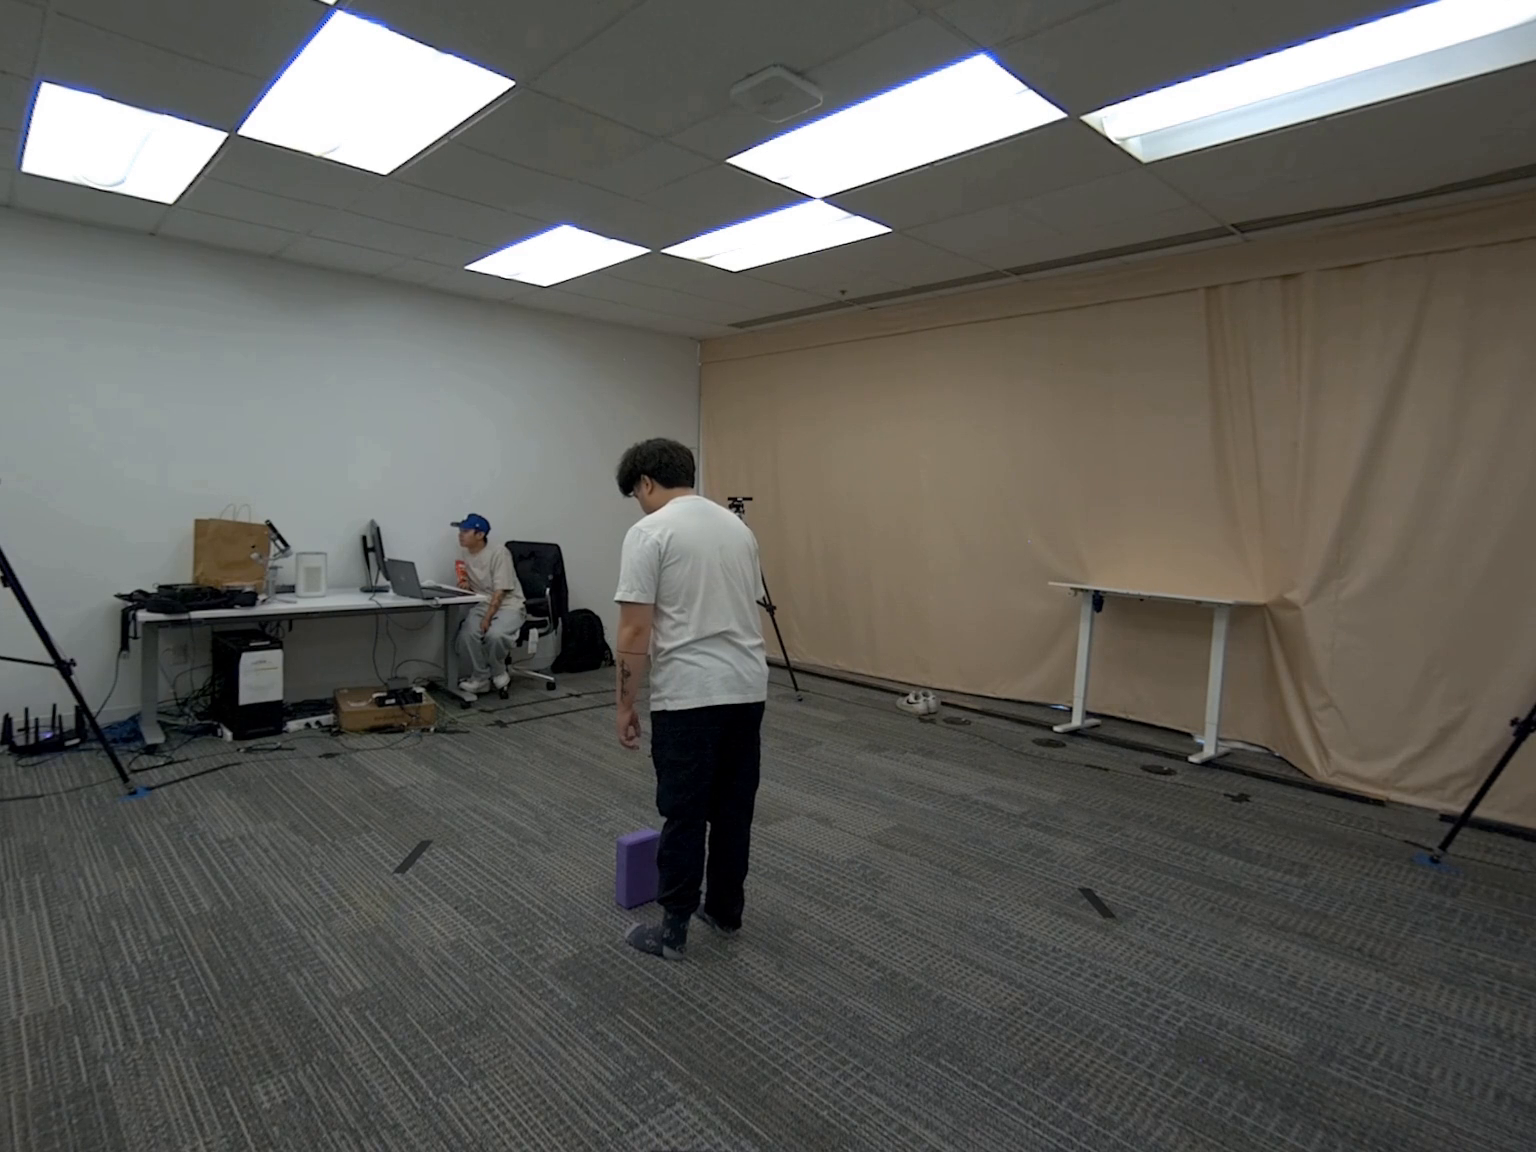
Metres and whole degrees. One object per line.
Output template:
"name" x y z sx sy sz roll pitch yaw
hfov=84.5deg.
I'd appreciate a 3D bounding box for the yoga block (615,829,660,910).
"yoga block" -0.453 1.006 2.892 0.145 0.229 0.078 -3 5 -42
